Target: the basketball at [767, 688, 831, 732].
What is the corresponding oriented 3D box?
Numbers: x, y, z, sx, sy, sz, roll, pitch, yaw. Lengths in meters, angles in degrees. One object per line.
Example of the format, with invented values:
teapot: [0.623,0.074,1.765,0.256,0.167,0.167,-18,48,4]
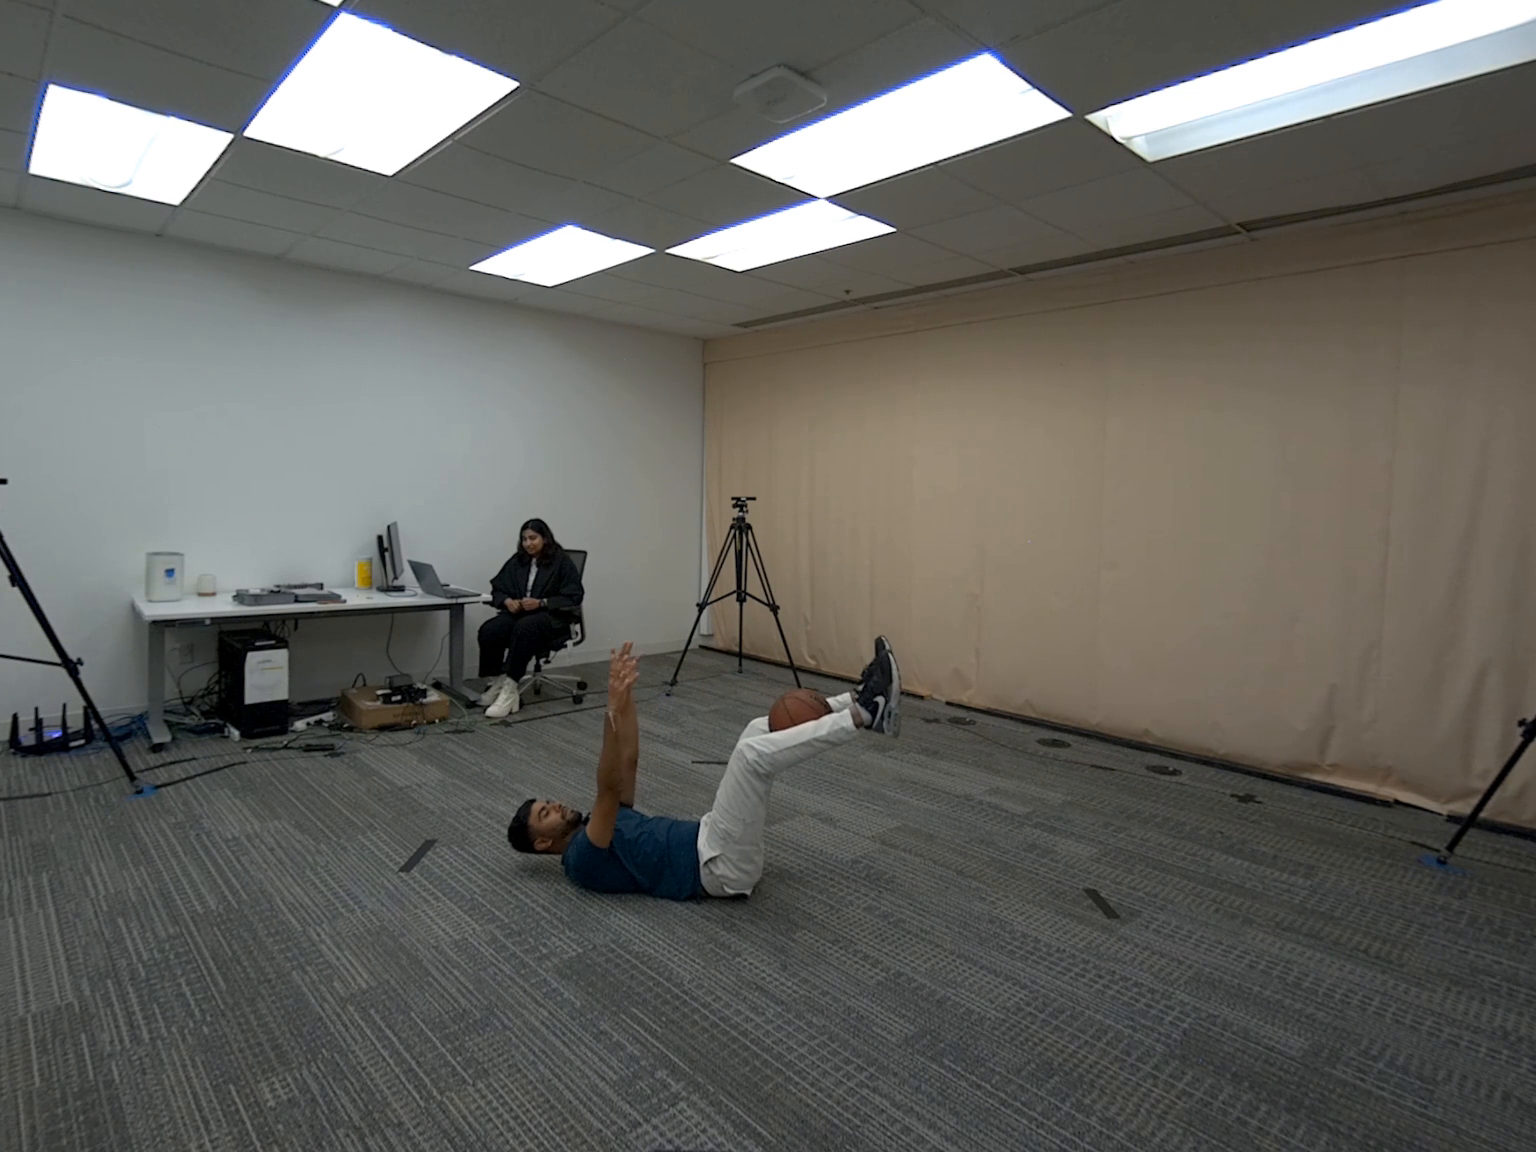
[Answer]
basketball: [0.116,0.521,2.980,0.236,0.235,0.237,1,4,-1]
